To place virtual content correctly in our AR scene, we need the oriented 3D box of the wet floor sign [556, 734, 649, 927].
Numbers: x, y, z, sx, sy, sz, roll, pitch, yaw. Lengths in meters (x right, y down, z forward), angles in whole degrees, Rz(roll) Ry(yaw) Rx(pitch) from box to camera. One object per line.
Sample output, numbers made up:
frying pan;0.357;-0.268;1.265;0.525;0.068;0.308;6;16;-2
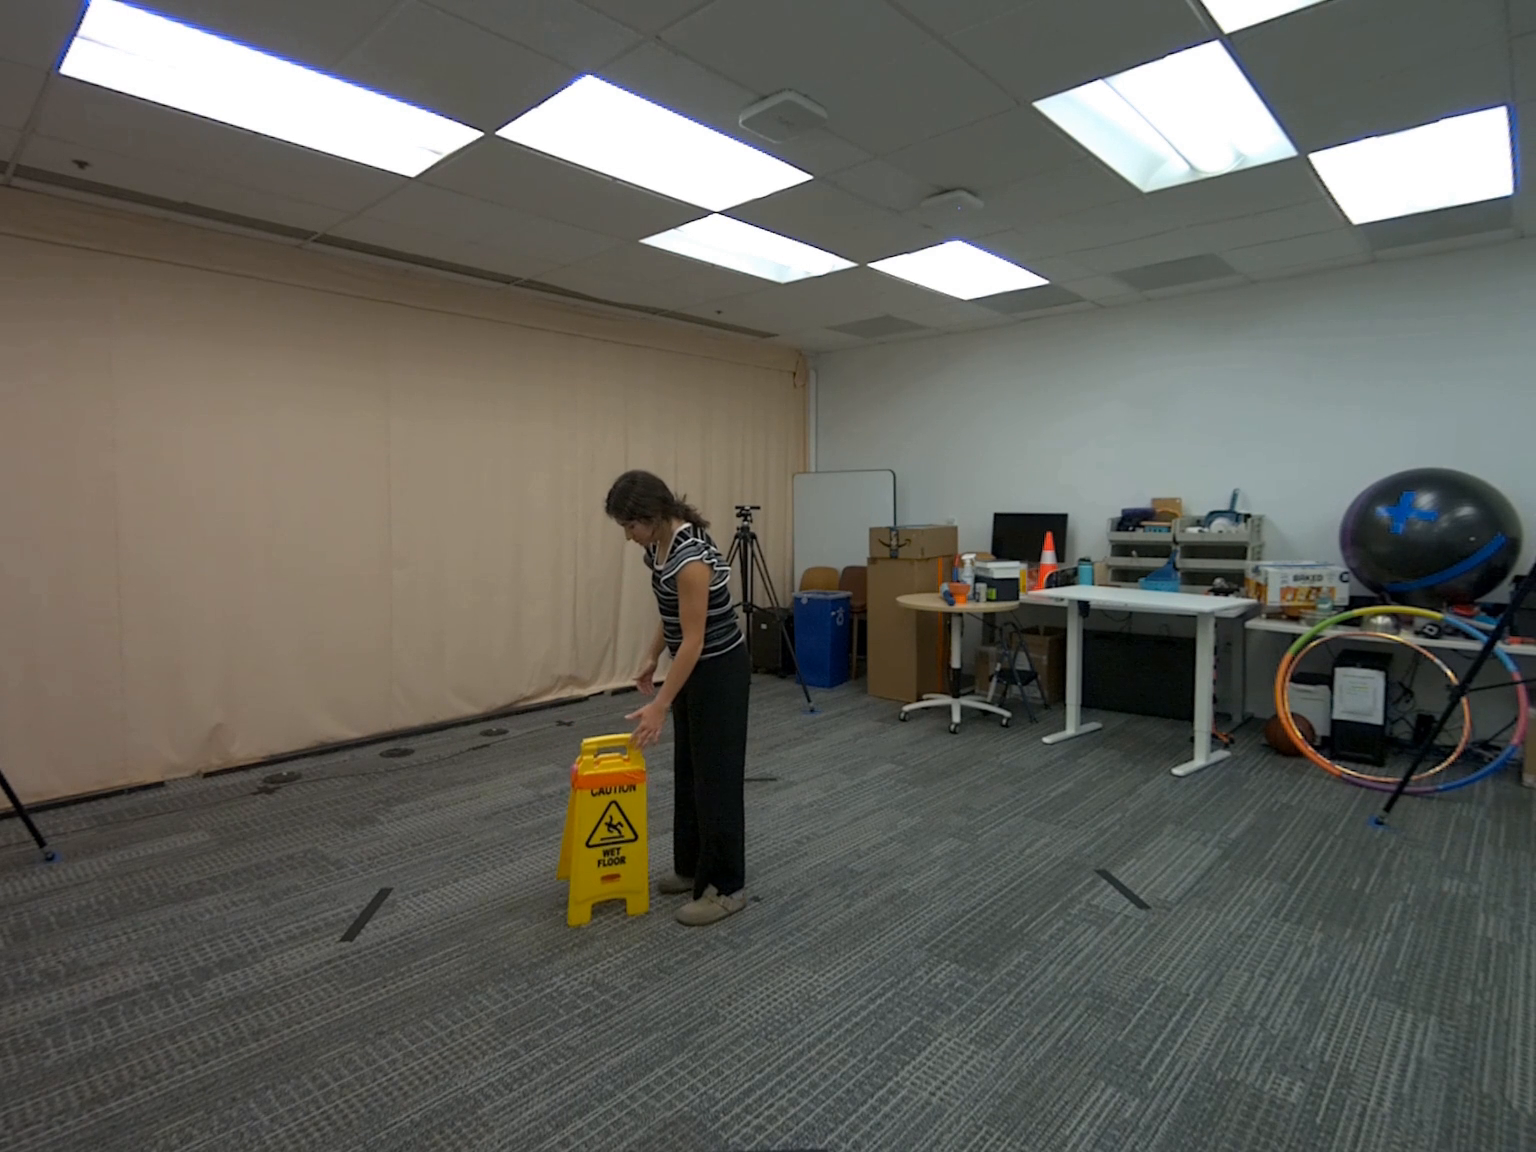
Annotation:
wet floor sign;-0.543;0.820;2.829;0.276;0.640;0.298;0;20;-21
